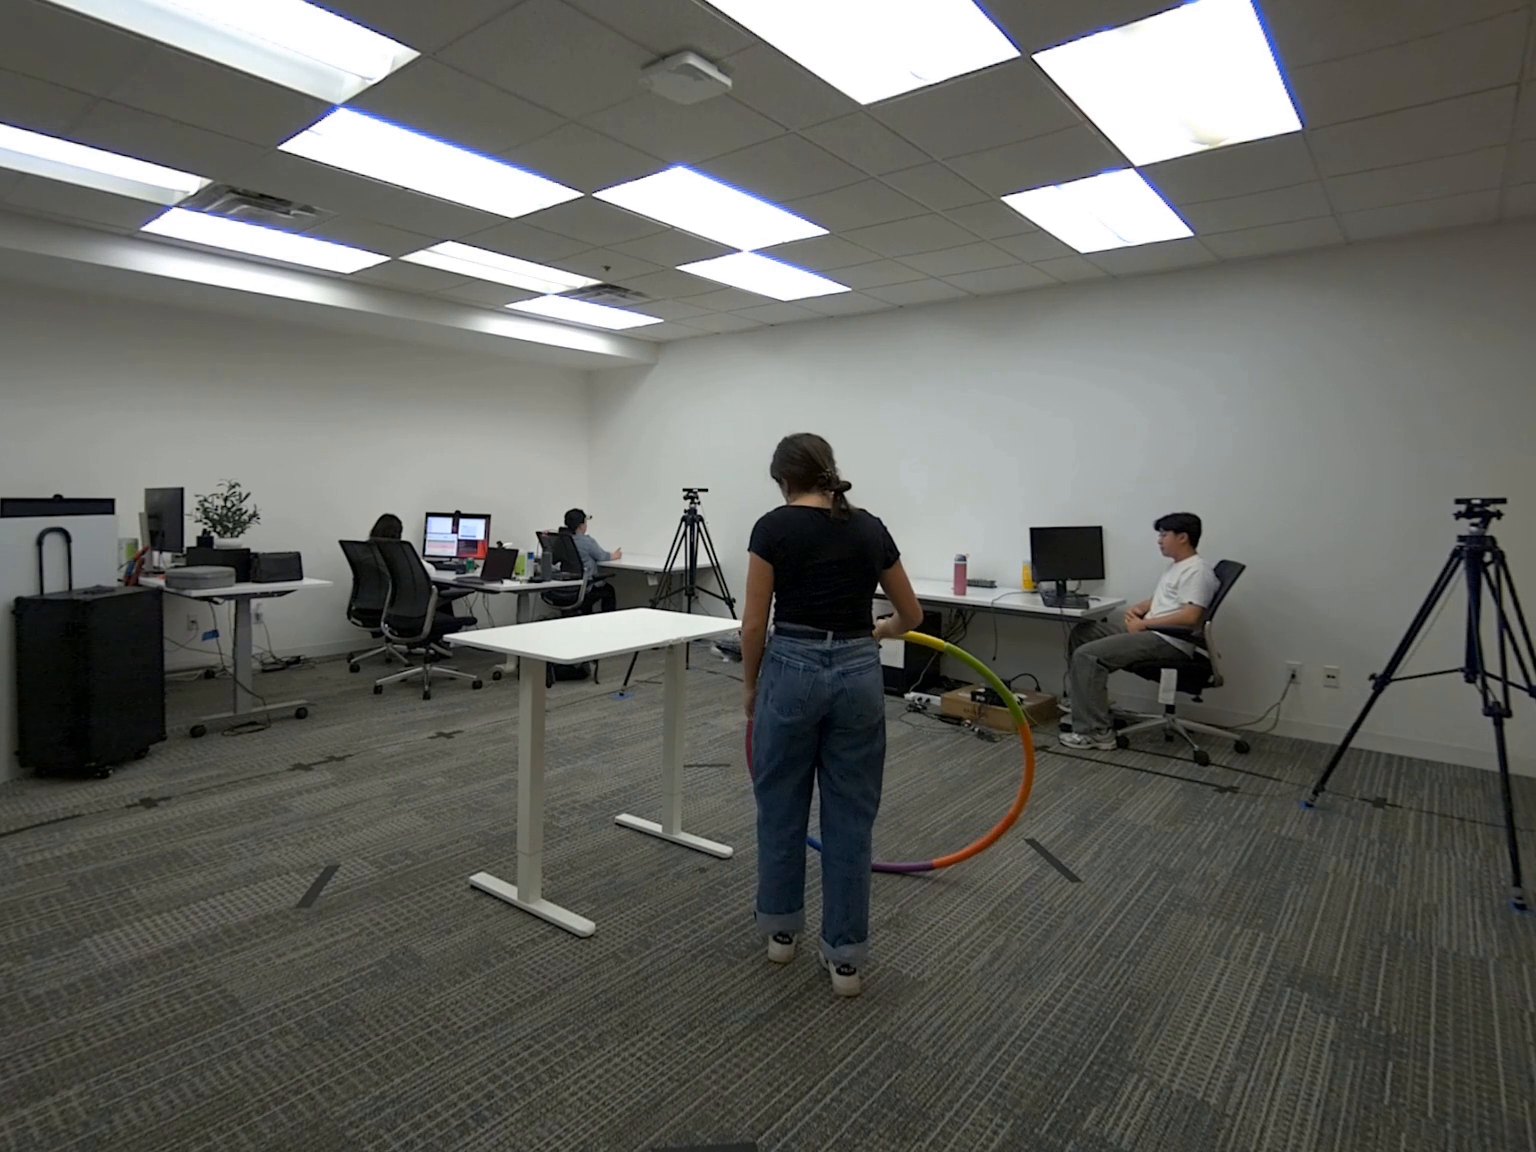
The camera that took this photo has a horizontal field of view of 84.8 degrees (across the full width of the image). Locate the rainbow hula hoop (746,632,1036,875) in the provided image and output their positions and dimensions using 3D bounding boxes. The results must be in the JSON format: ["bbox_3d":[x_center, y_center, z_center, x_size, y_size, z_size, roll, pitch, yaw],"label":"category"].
[{"bbox_3d":[0.409,0.624,2.965,0.991,0.959,0.036,2,21,12],"label":"rainbow hula hoop"}]
